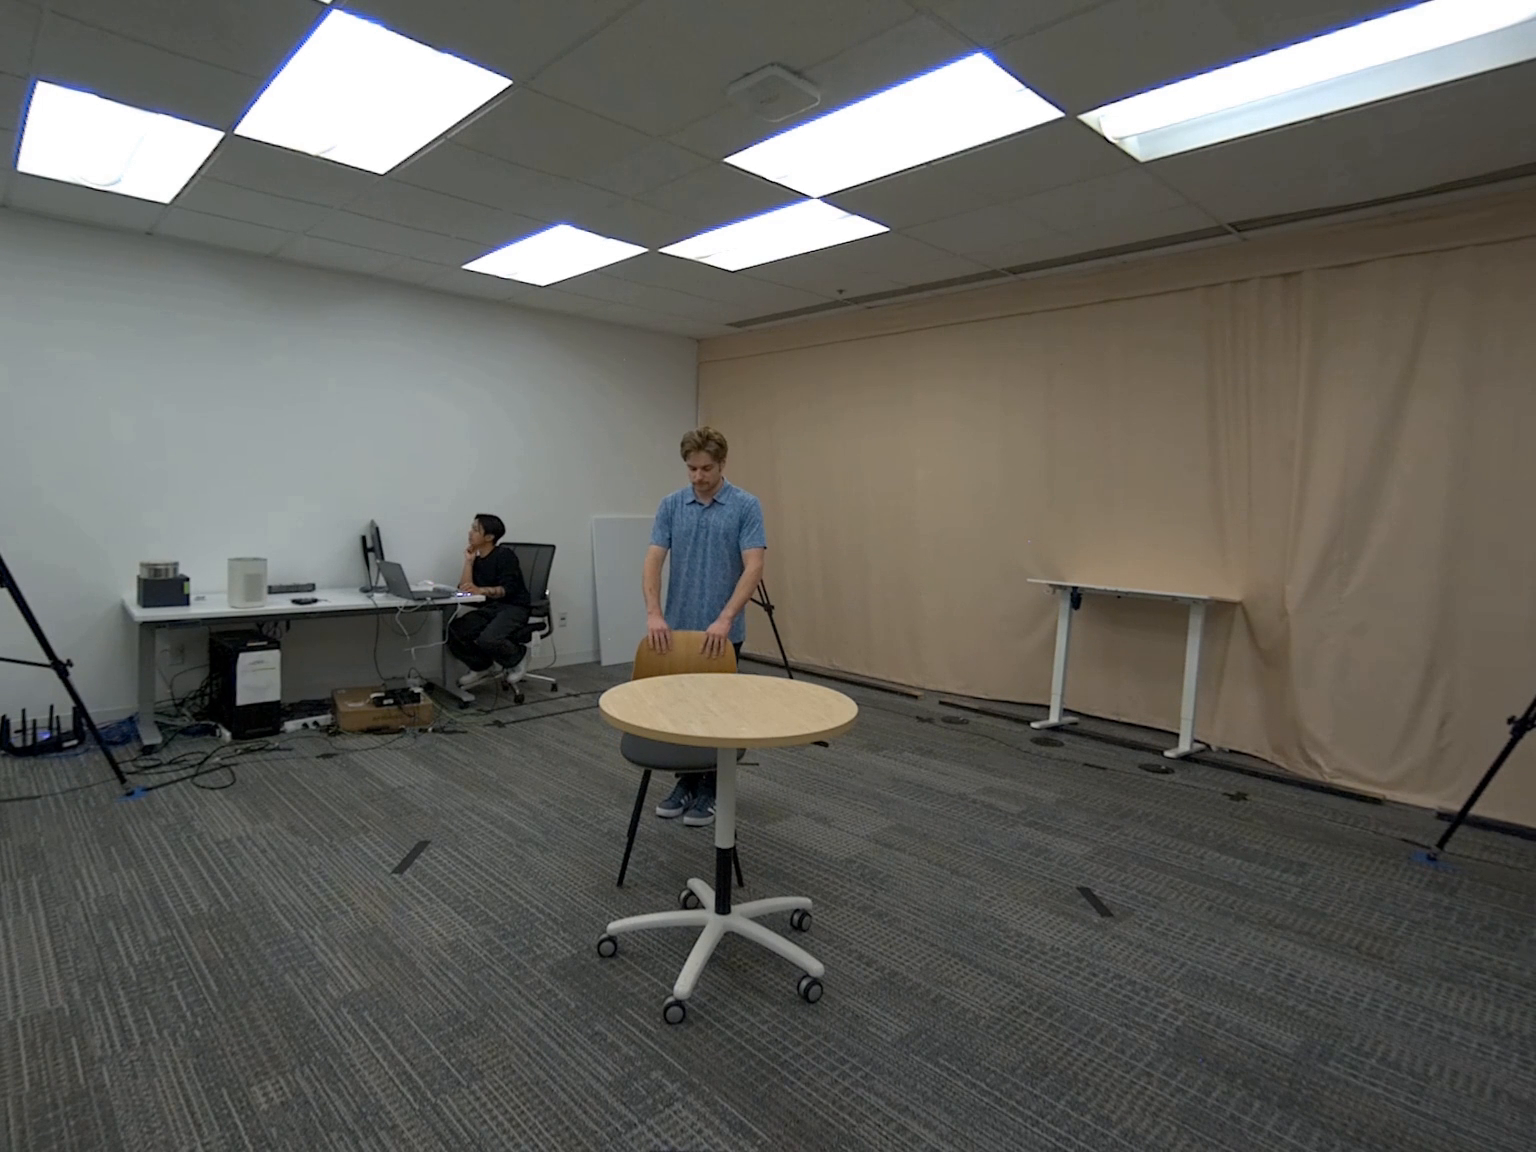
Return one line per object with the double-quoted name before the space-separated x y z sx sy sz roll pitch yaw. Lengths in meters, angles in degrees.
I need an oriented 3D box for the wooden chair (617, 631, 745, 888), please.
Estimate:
"wooden chair" -0.324 0.667 3.187 0.476 0.878 0.524 2 -1 -5
